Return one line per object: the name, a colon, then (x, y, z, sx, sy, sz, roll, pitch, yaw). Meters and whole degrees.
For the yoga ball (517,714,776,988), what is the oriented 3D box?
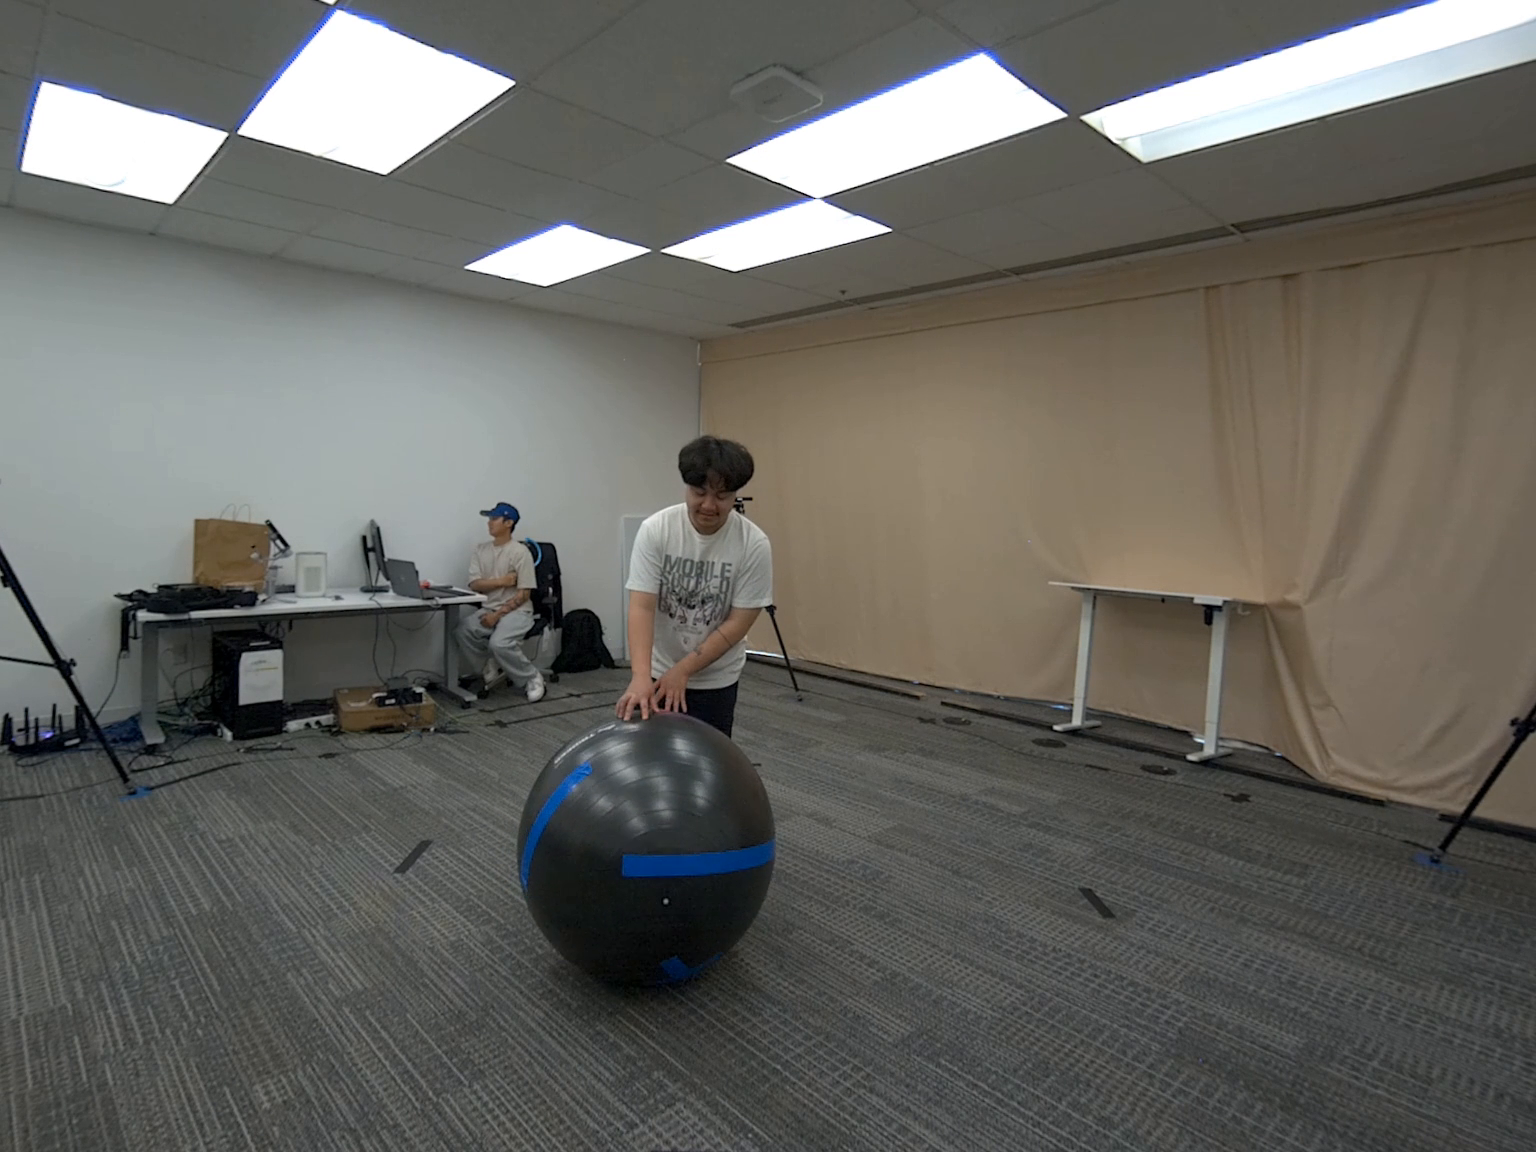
yoga ball: (-0.362, 0.793, 2.489, 0.757, 0.756, 0.761, 1, 4, -1)
